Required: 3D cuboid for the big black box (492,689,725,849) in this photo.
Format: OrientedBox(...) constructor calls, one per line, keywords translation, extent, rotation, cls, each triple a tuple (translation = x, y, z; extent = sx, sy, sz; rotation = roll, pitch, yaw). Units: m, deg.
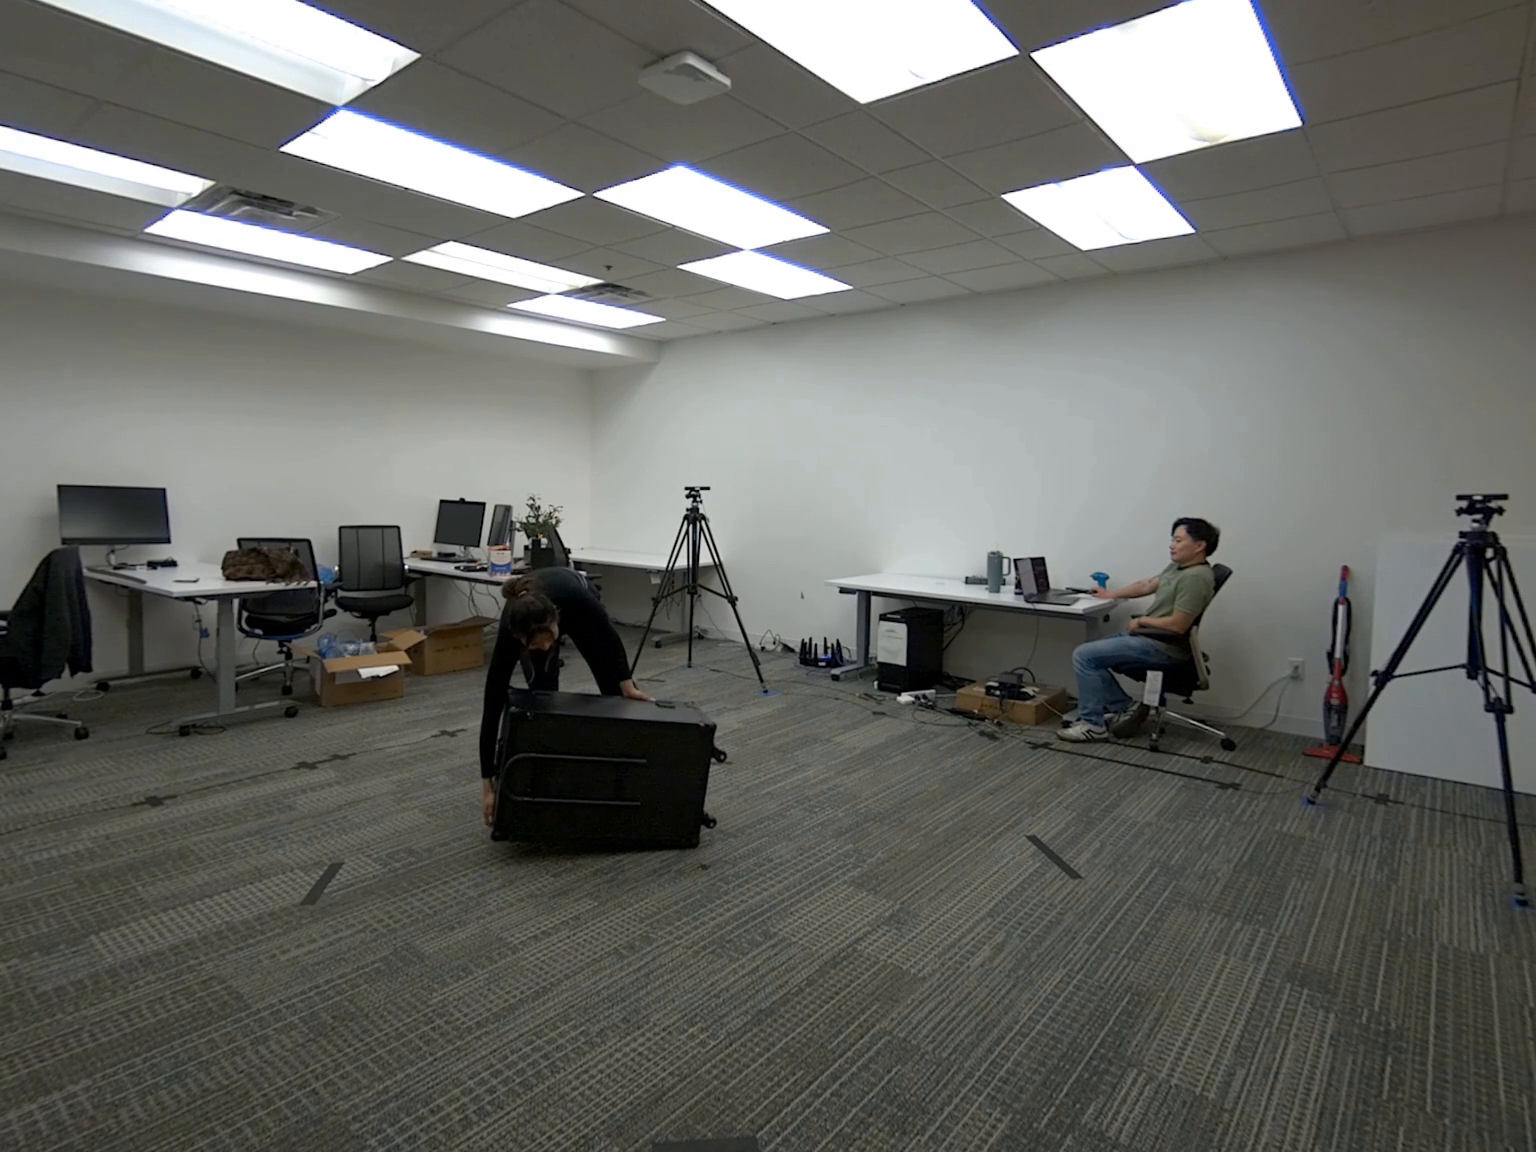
OrientedBox(translation=(-0.630, 0.741, 3.330), extent=(0.843, 0.520, 0.406), rotation=(7, 4, -19), cls="big black box")
